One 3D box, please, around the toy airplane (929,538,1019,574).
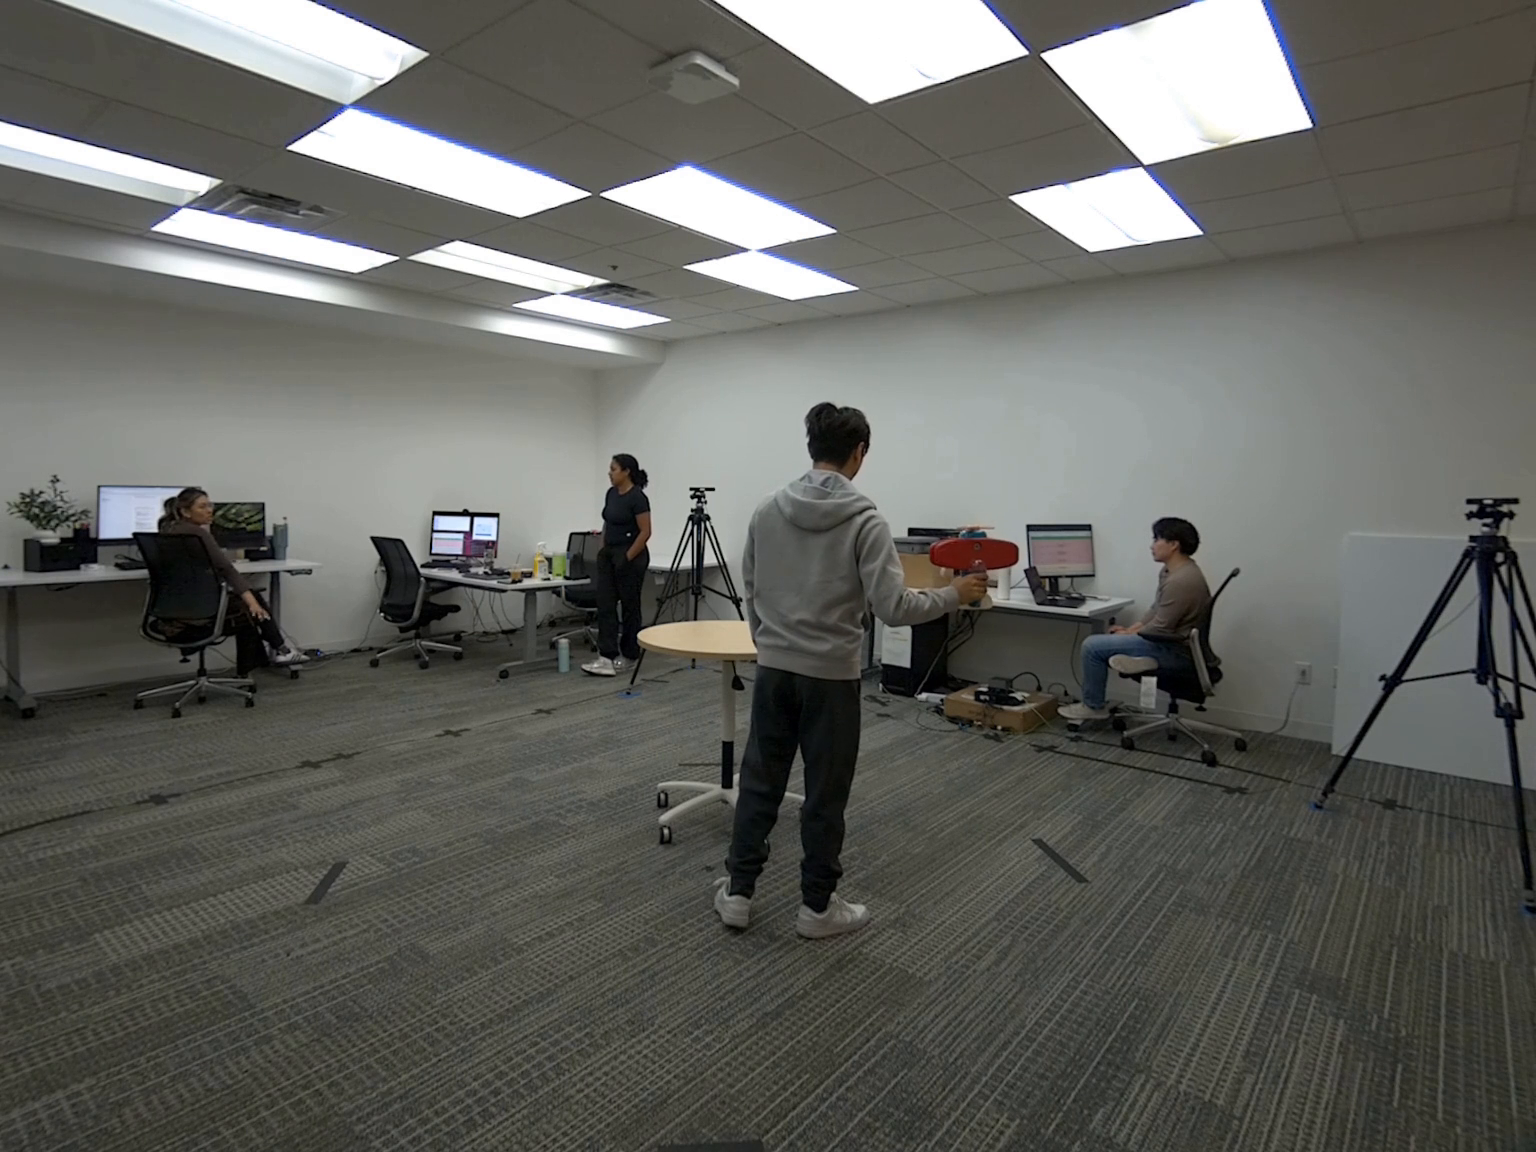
[{"bbox_3d":[0.654,-0.036,2.664,0.250,0.264,0.154,-28,-14,-5],"label":"toy airplane"}]
